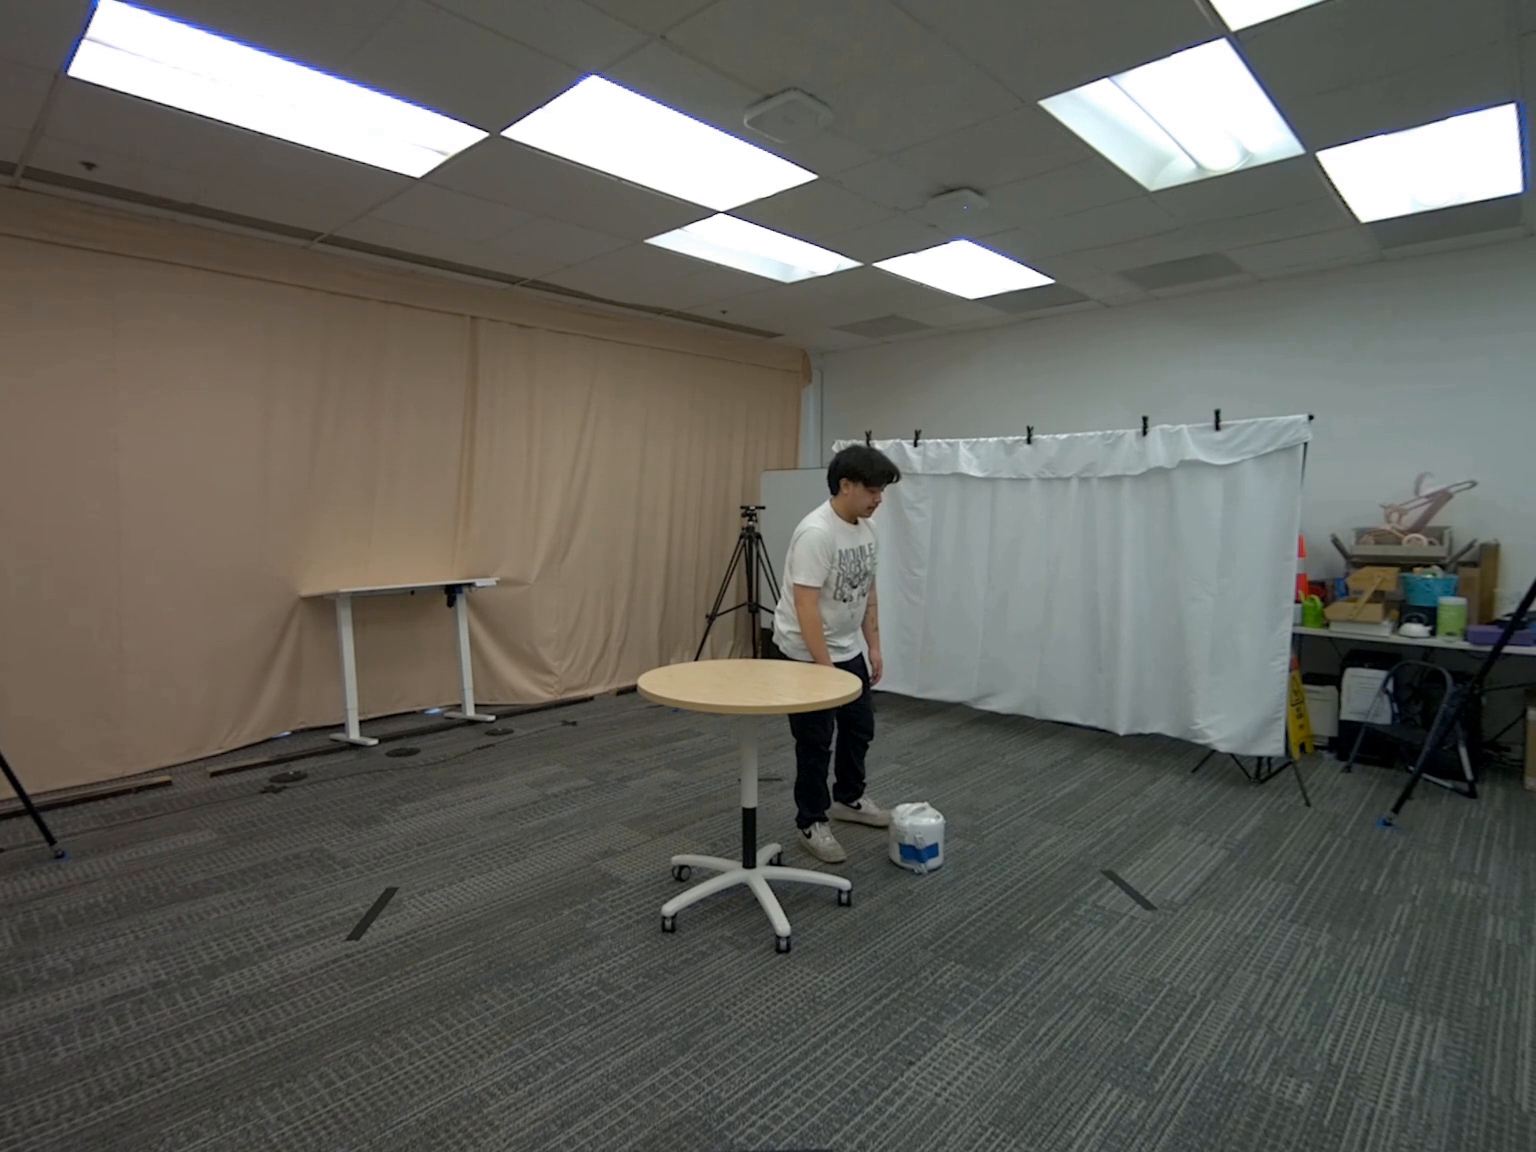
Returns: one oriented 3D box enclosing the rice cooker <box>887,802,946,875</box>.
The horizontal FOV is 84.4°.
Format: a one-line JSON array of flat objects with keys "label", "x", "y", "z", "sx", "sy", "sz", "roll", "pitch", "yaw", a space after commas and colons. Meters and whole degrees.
[{"label": "rice cooker", "x": 0.575, "y": 0.999, "z": 3.281, "sx": 0.214, "sy": 0.232, "sz": 0.225, "roll": -3, "pitch": 6, "yaw": -42}]
